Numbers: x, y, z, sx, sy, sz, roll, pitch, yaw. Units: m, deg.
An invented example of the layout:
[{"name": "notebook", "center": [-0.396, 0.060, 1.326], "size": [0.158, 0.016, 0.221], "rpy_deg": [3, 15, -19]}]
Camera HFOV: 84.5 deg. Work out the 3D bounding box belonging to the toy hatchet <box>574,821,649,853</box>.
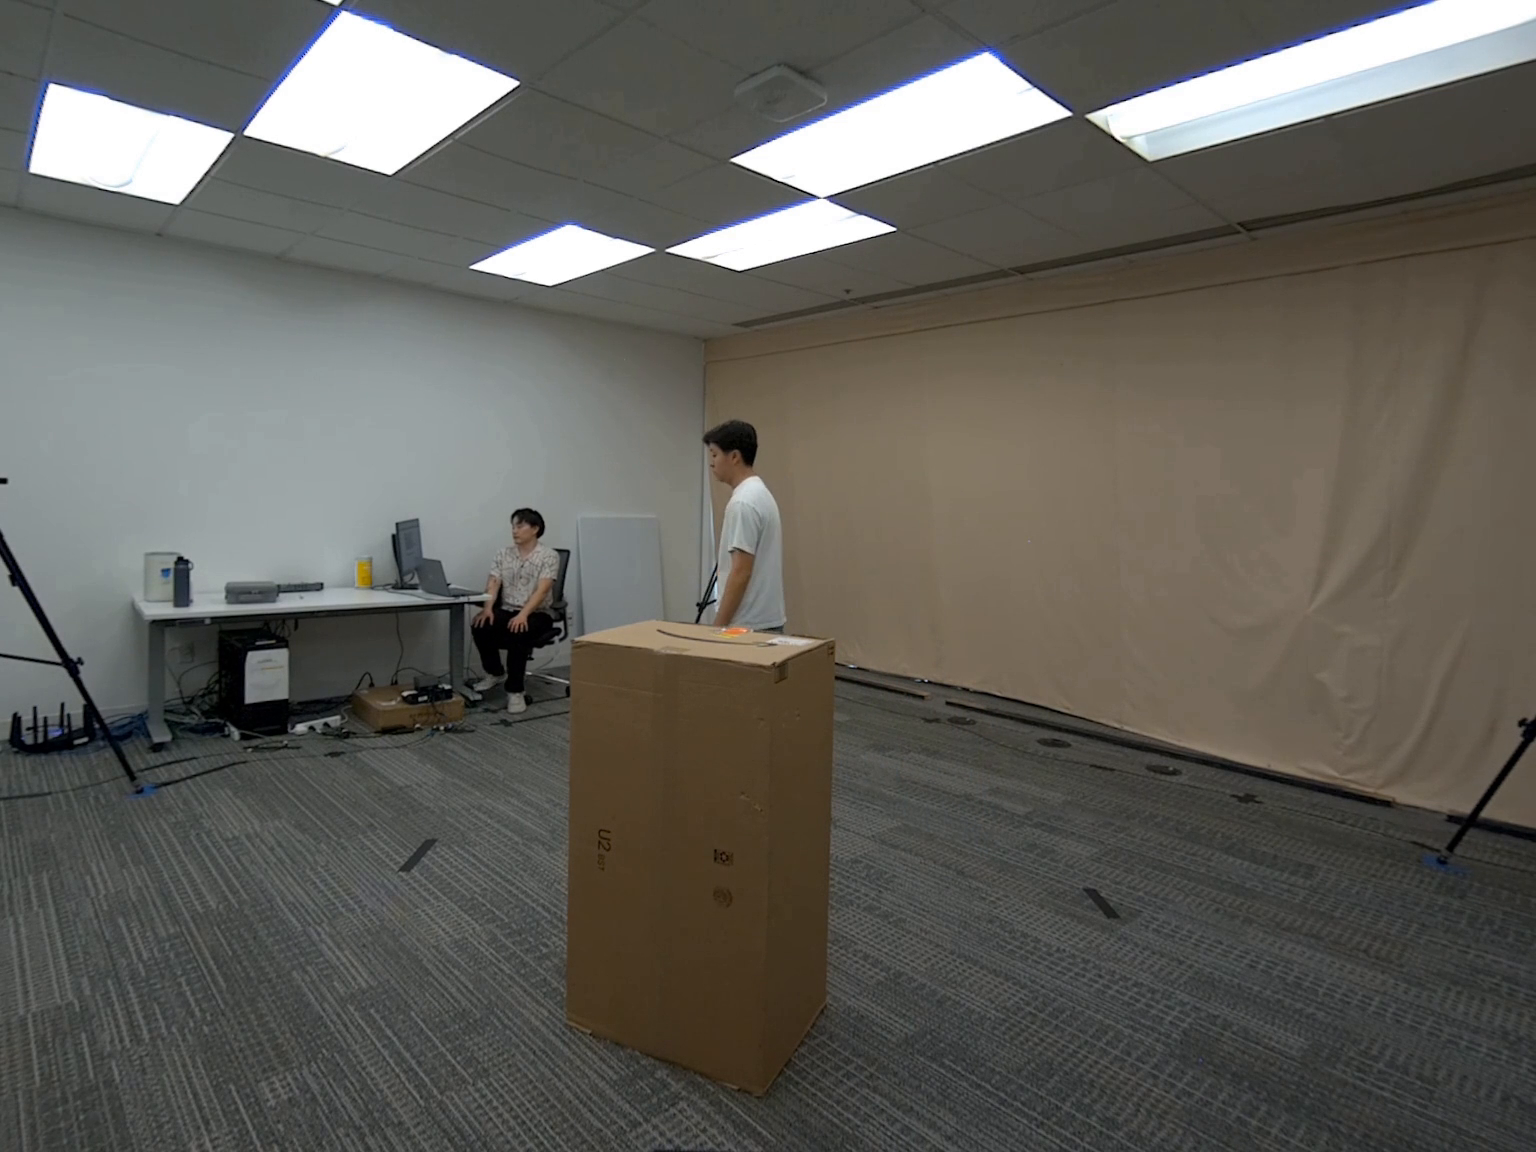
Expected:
[{"name": "toy hatchet", "center": [-0.638, 1.057, 3.440], "size": [0.274, 0.029, 0.129], "rpy_deg": [4, 6, 17]}]
